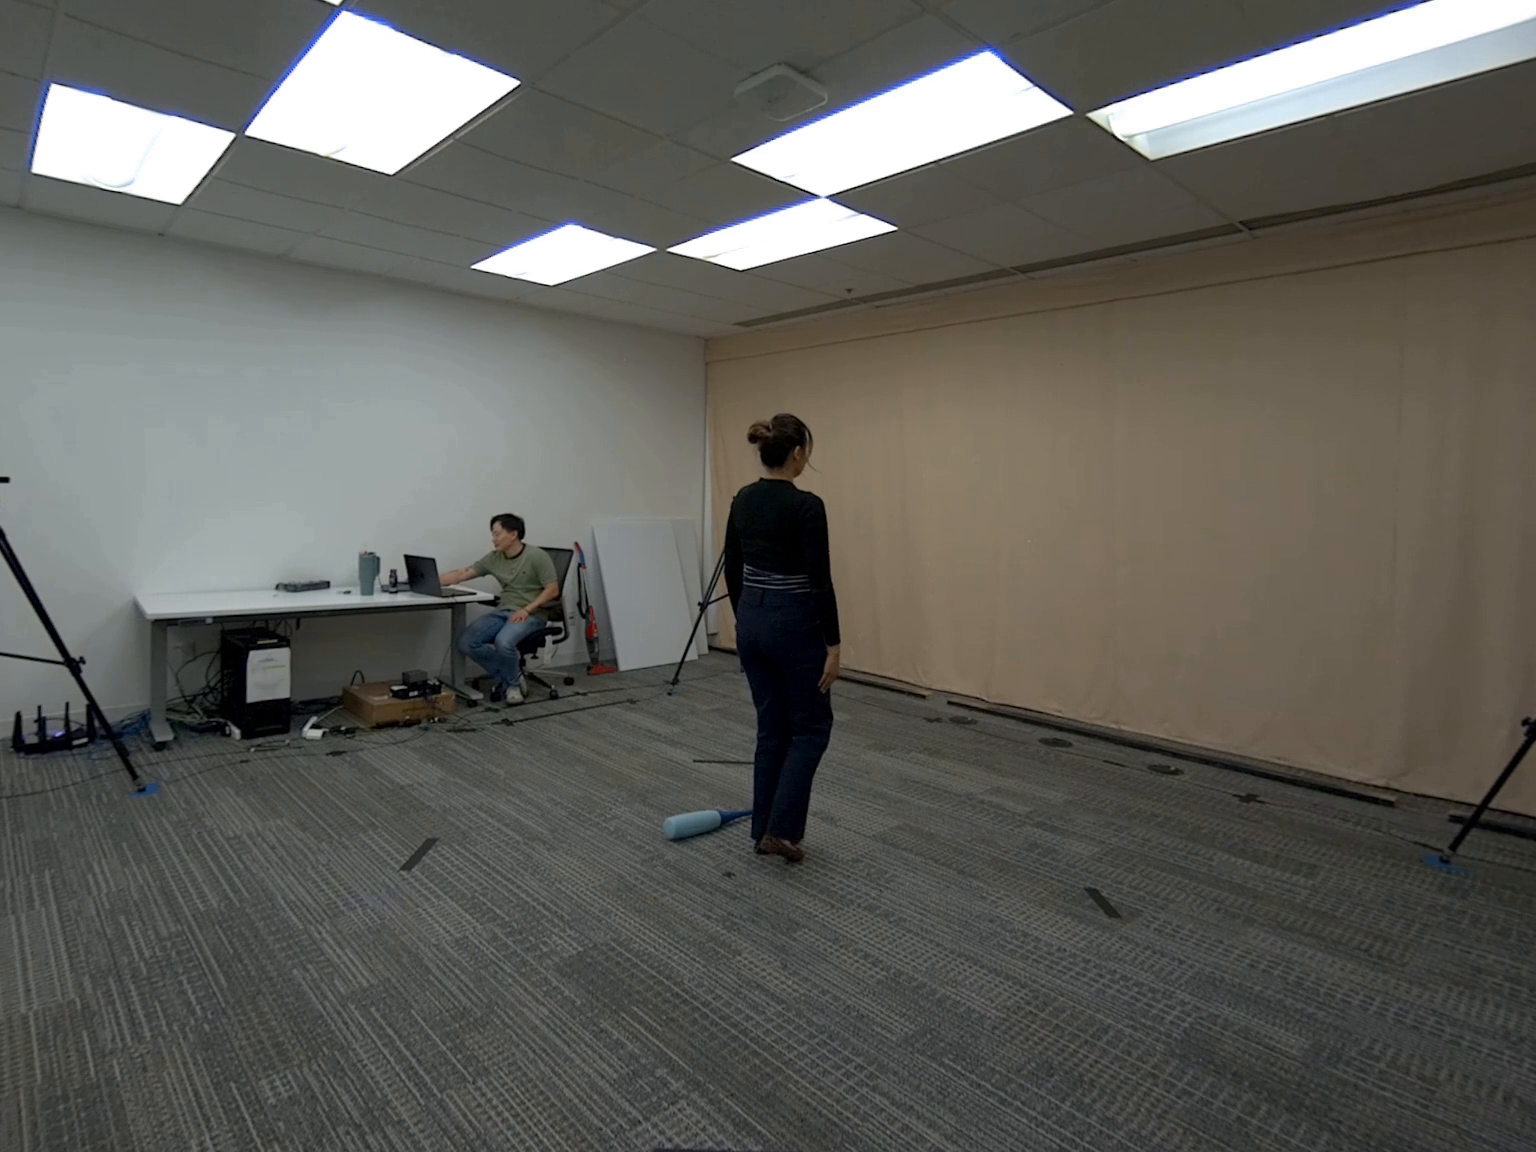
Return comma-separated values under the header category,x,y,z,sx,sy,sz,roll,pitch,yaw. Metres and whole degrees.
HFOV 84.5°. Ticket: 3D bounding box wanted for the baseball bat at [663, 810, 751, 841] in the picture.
category,x,y,z,sx,sy,sz,roll,pitch,yaw
baseball bat,-0.213,1.027,3.558,0.530,0.089,0.091,1,3,-40
